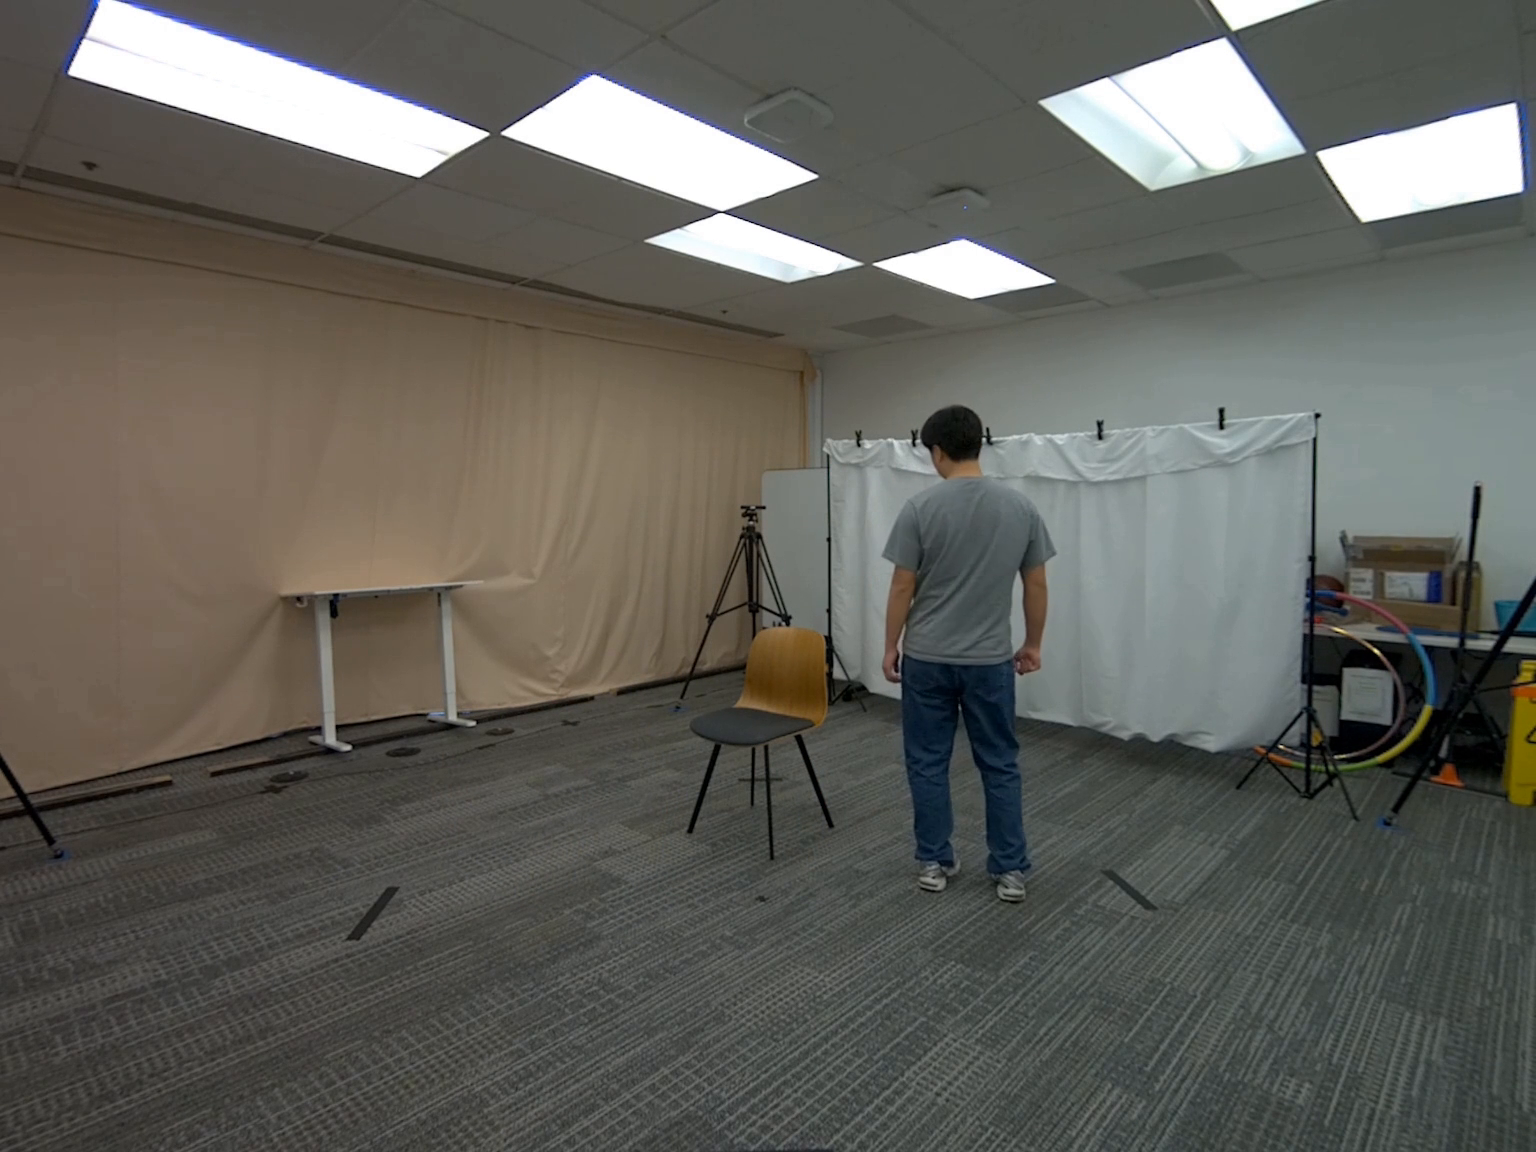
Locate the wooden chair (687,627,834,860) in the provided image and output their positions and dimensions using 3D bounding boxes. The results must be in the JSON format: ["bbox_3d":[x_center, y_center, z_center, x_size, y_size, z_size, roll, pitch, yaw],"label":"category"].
[{"bbox_3d":[-0.033,0.665,3.584,0.493,0.878,0.506,2,-1,38],"label":"wooden chair"}]
